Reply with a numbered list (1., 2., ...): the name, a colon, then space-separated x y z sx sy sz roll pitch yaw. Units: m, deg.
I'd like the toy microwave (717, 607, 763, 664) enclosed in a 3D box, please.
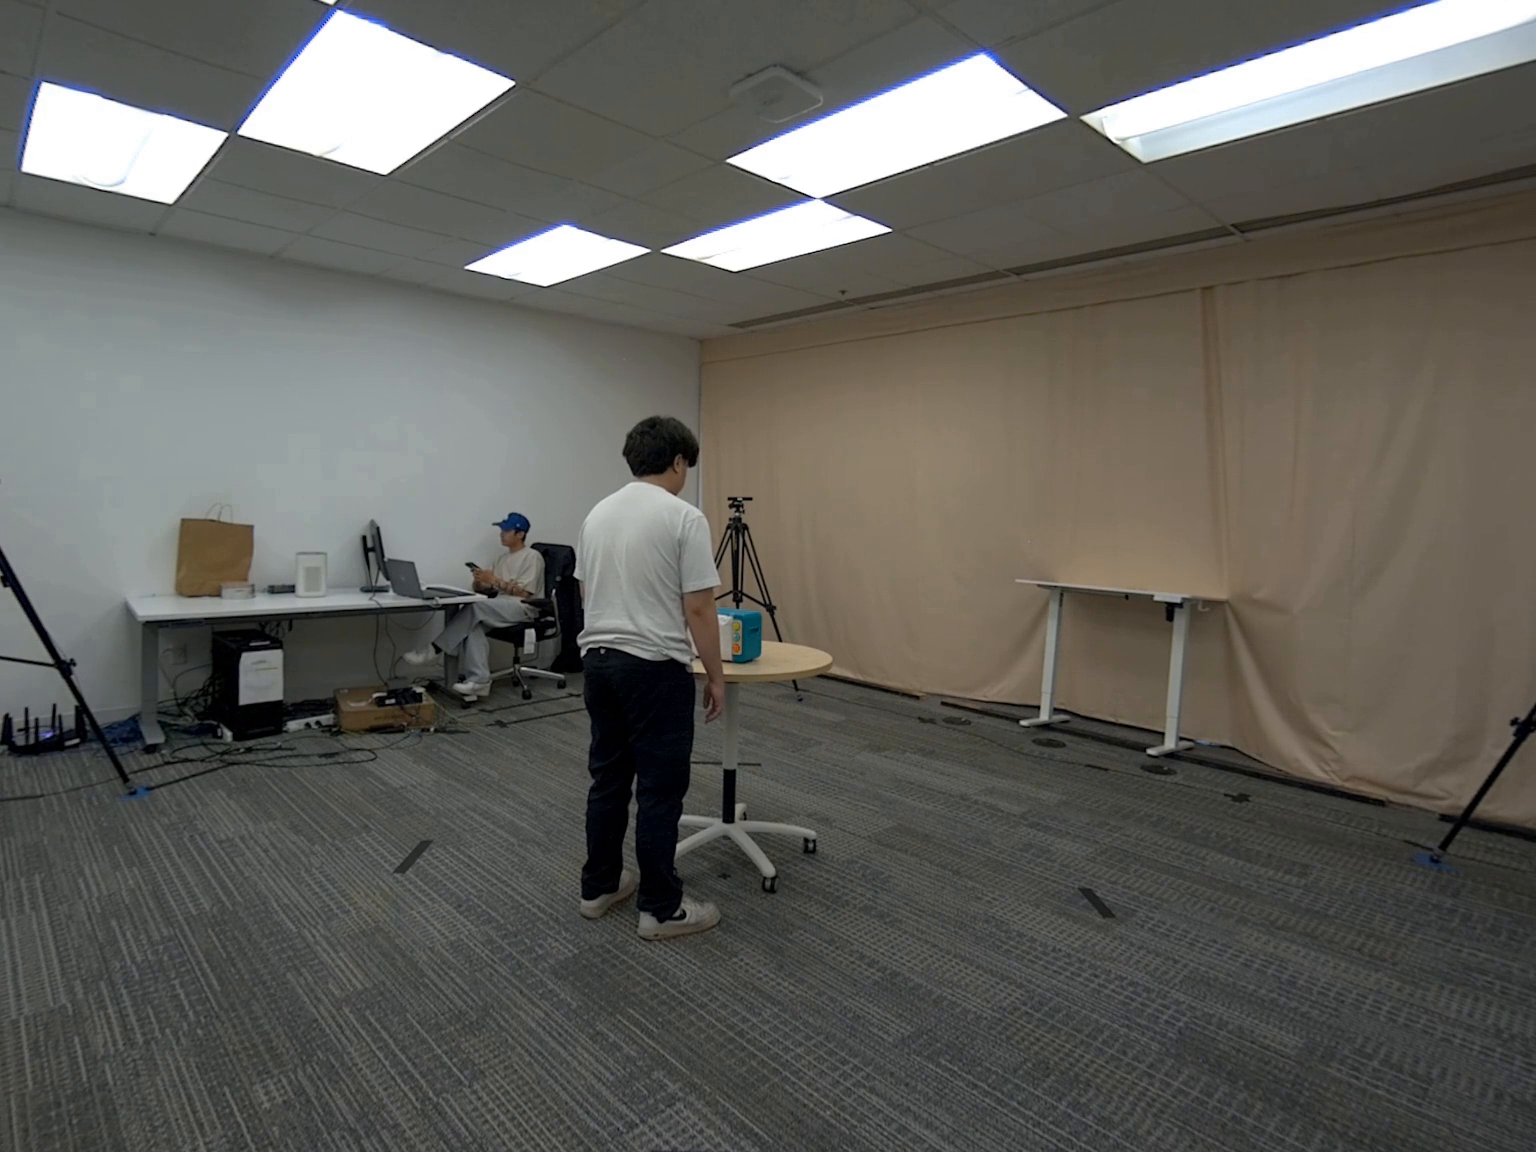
1. toy microwave: -0.182 0.217 3.142 0.293 0.183 0.149 4 5 32
